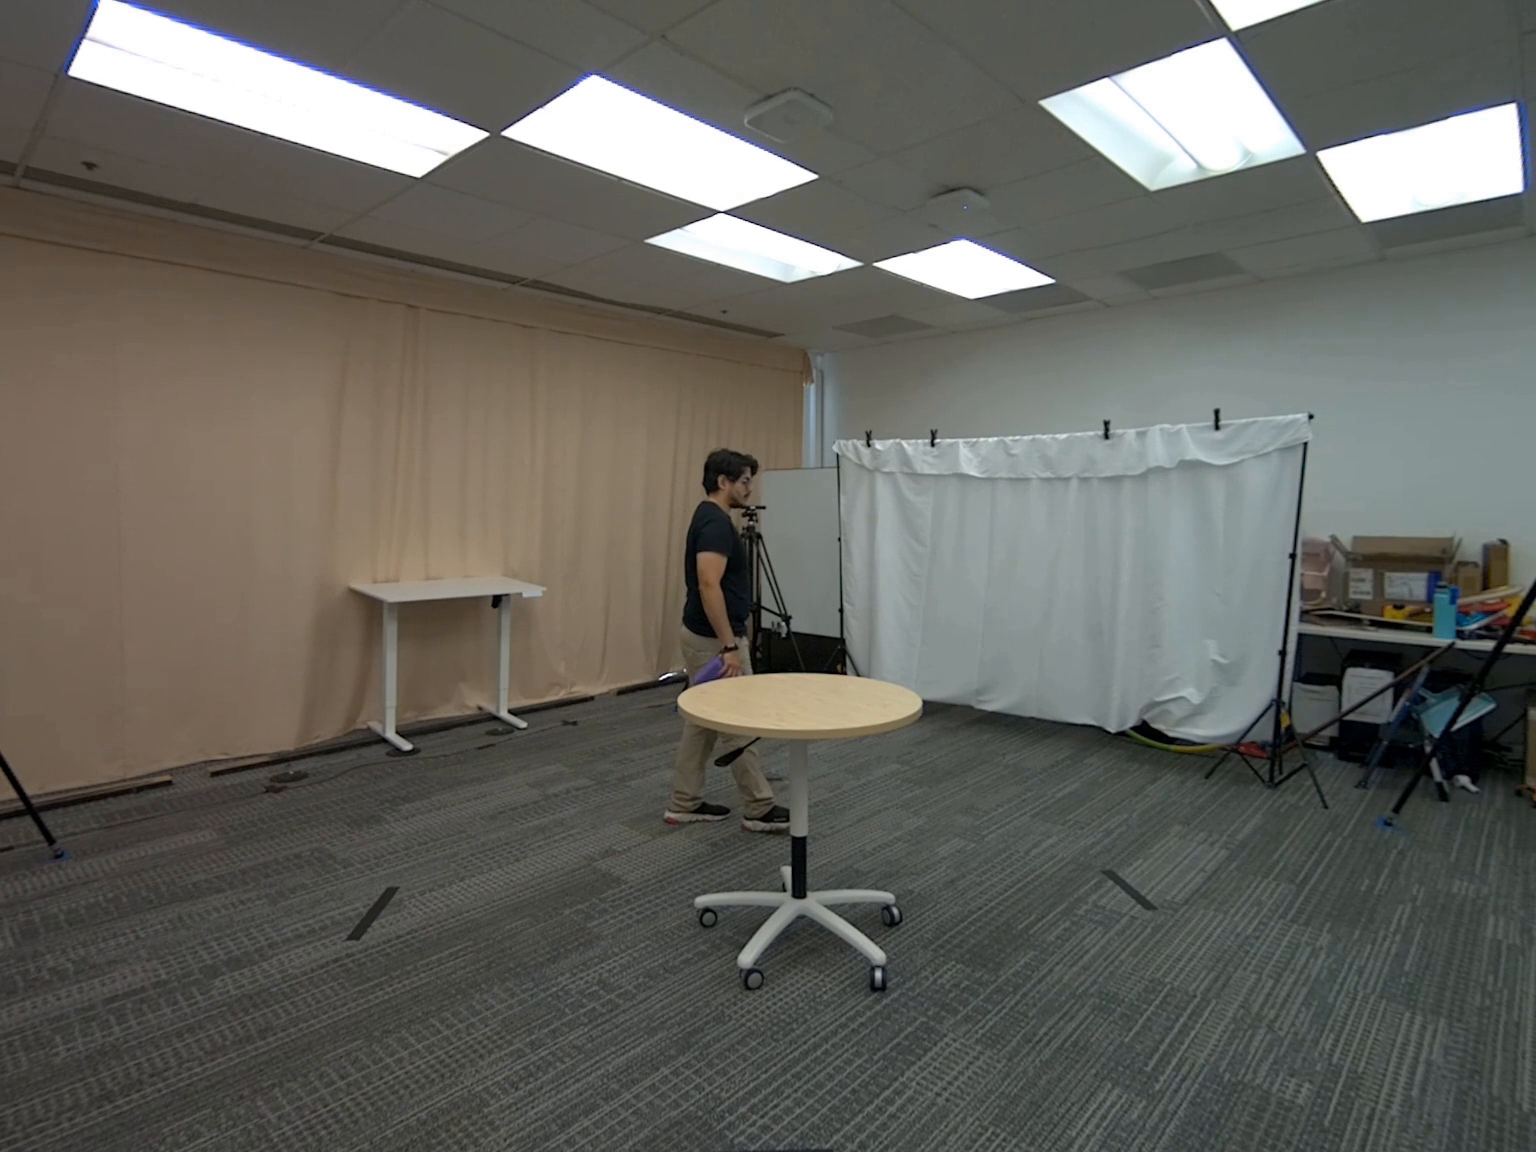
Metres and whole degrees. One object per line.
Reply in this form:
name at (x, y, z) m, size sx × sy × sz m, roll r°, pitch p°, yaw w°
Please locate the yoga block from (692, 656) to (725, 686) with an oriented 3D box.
yoga block at (-0.173, 0.447, 3.440) m, size 0.226 × 0.150 × 0.077 m, roll 41°, pitch 17°, yaw -12°
